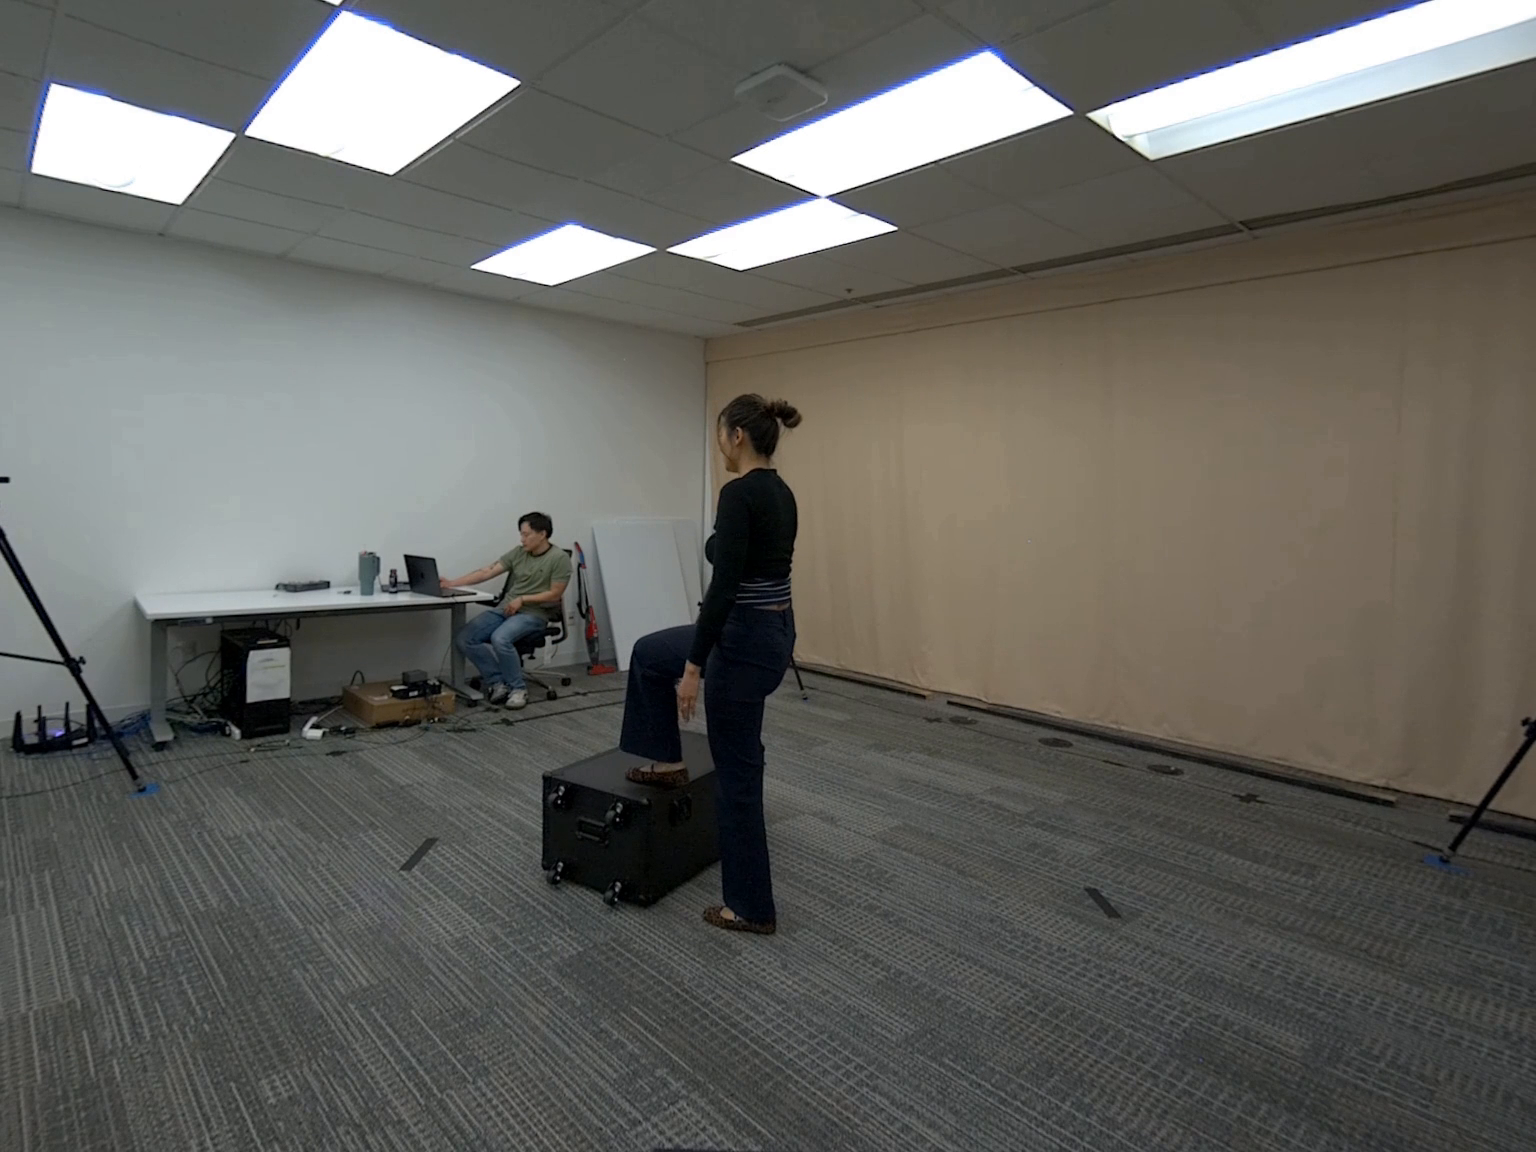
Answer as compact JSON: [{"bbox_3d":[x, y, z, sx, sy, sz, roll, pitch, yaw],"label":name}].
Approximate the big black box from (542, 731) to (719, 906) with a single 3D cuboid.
[{"bbox_3d":[-0.447,0.897,3.232,0.533,0.395,0.845,5,6,30],"label":"big black box"}]
